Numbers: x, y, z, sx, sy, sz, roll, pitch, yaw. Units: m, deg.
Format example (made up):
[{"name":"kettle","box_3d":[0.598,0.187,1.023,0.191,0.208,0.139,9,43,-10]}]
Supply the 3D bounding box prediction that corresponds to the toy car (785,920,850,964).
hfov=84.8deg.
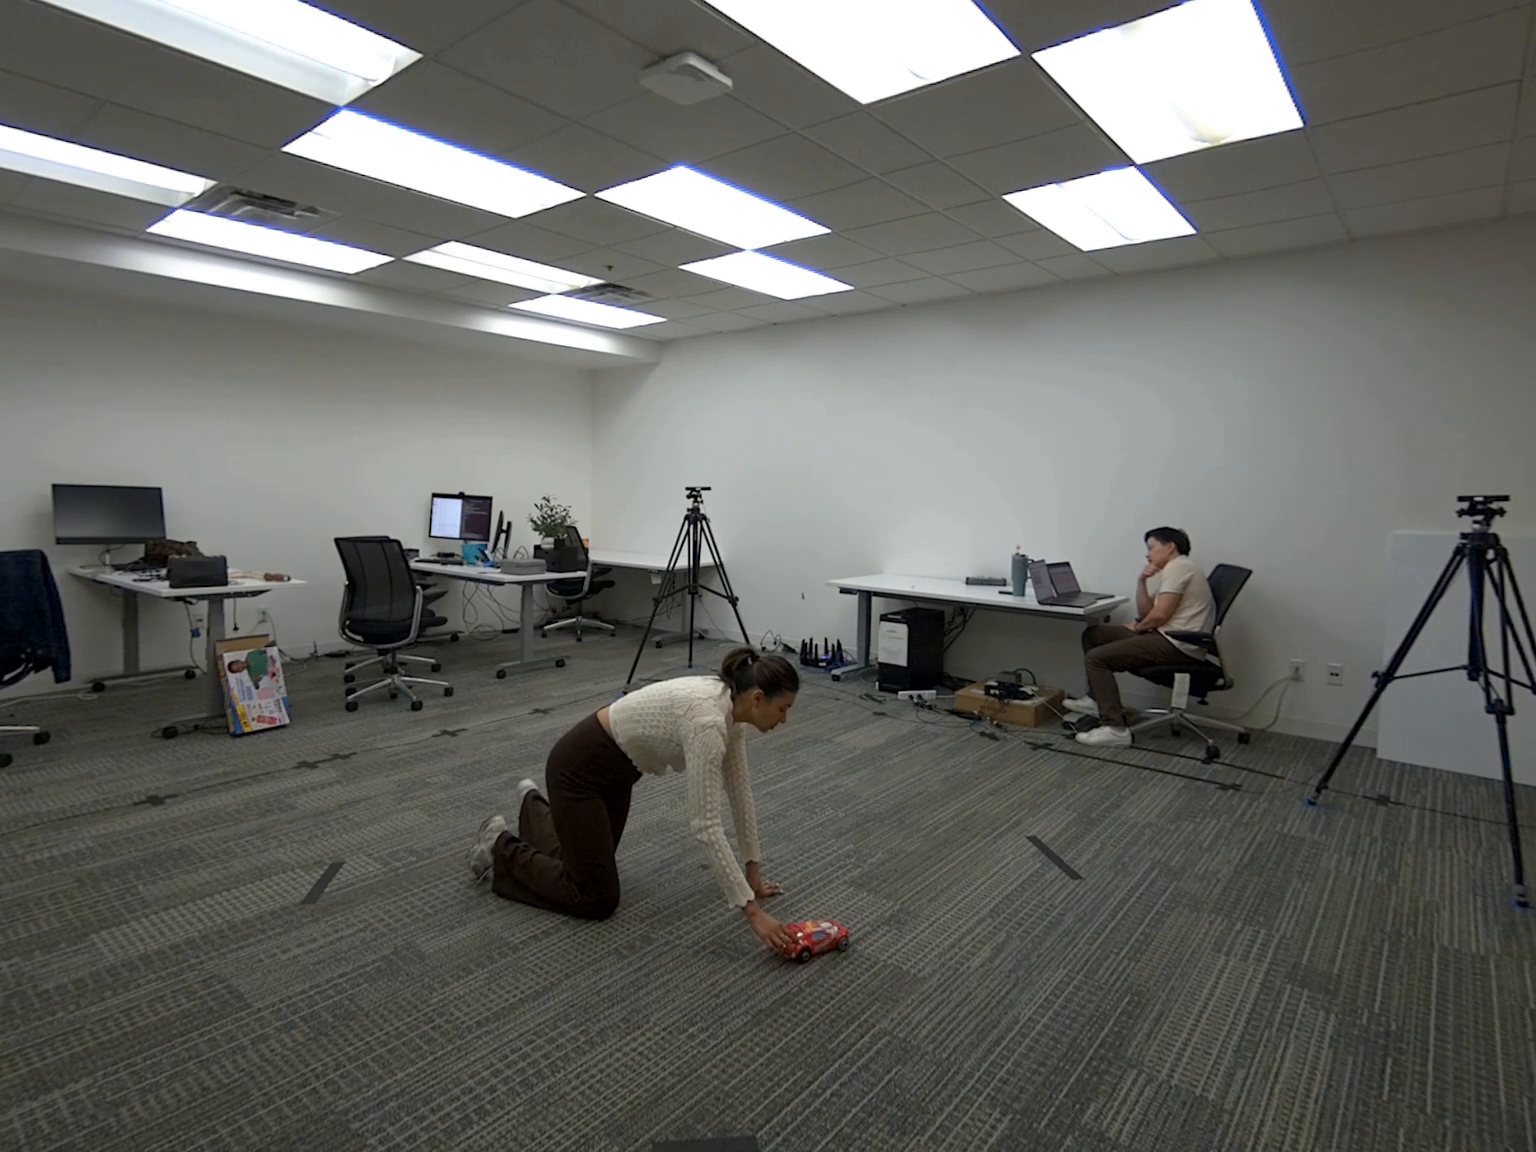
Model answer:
[{"name":"toy car","box_3d":[0.118,1.099,2.563,0.246,0.083,0.134,10,0,-31]}]
